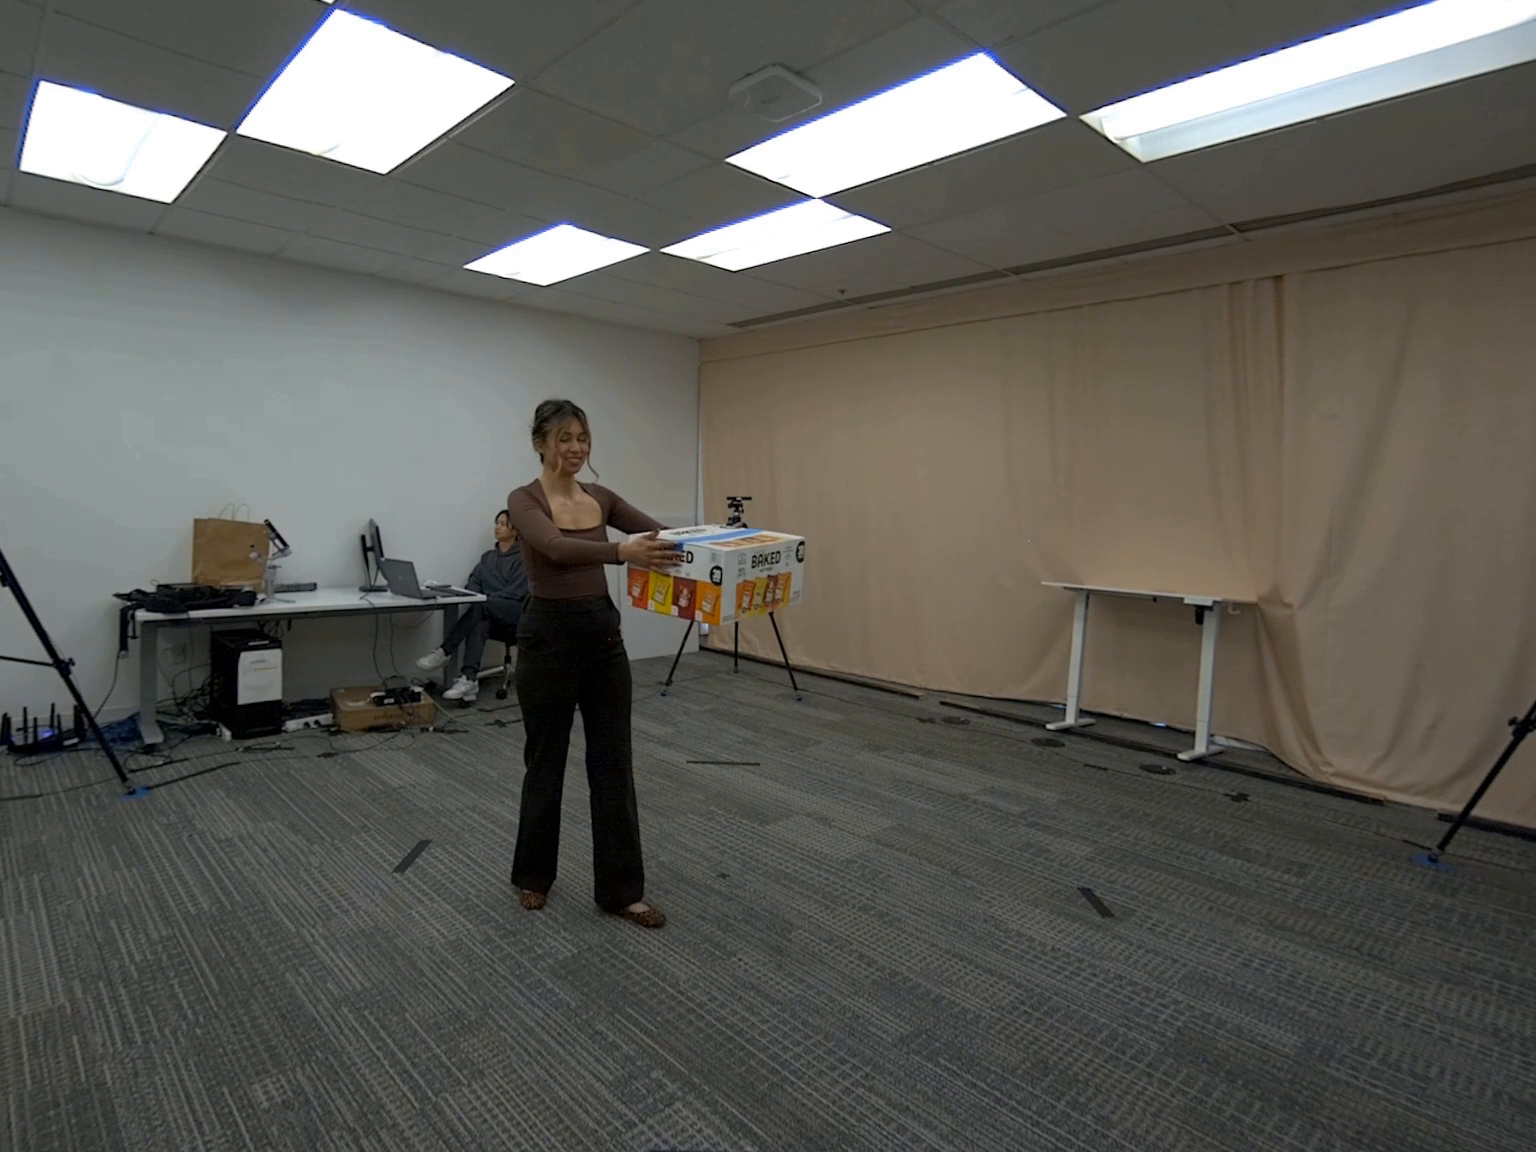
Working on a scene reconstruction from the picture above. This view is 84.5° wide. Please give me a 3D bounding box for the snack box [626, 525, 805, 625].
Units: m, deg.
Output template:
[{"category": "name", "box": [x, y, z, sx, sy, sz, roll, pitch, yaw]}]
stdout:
[{"category": "snack box", "box": [-0.155, -0.014, 2.419, 0.349, 0.204, 0.397, 9, 11, 34]}]
